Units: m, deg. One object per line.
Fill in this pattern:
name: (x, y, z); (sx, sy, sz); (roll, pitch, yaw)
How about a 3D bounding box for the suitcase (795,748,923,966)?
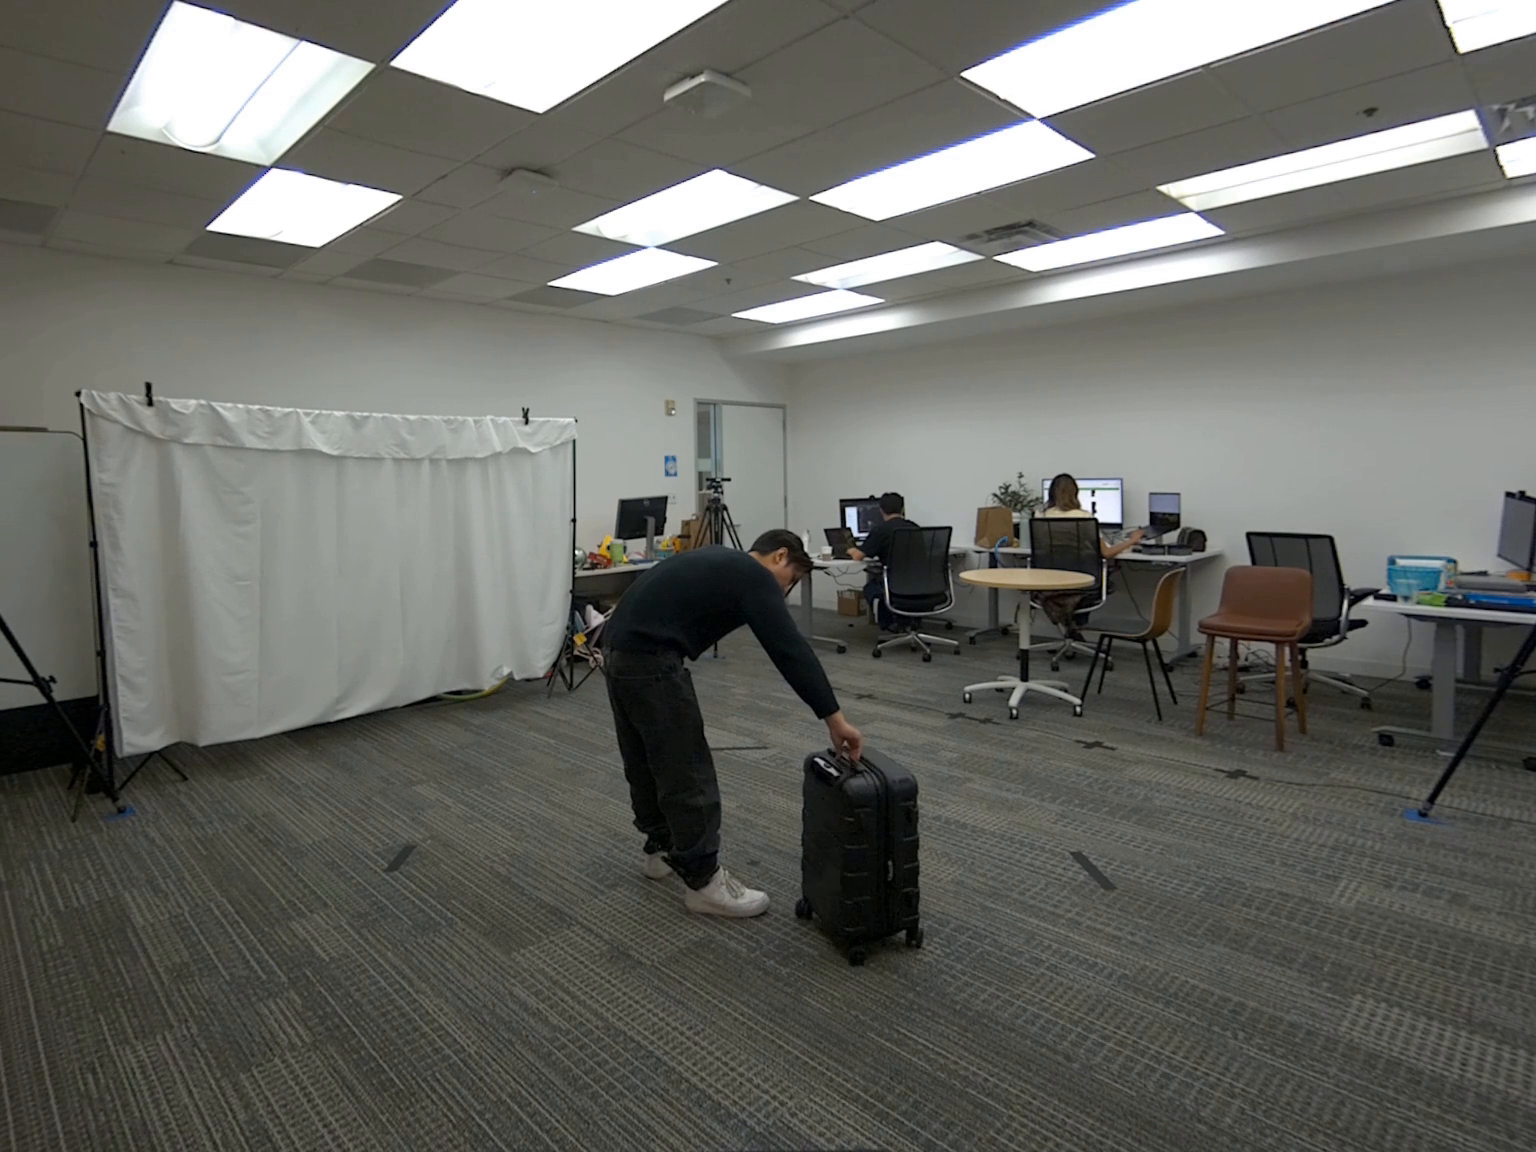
suitcase: (0.277, 0.819, 2.607); (0.244, 0.548, 0.384); (-1, 4, -22)
